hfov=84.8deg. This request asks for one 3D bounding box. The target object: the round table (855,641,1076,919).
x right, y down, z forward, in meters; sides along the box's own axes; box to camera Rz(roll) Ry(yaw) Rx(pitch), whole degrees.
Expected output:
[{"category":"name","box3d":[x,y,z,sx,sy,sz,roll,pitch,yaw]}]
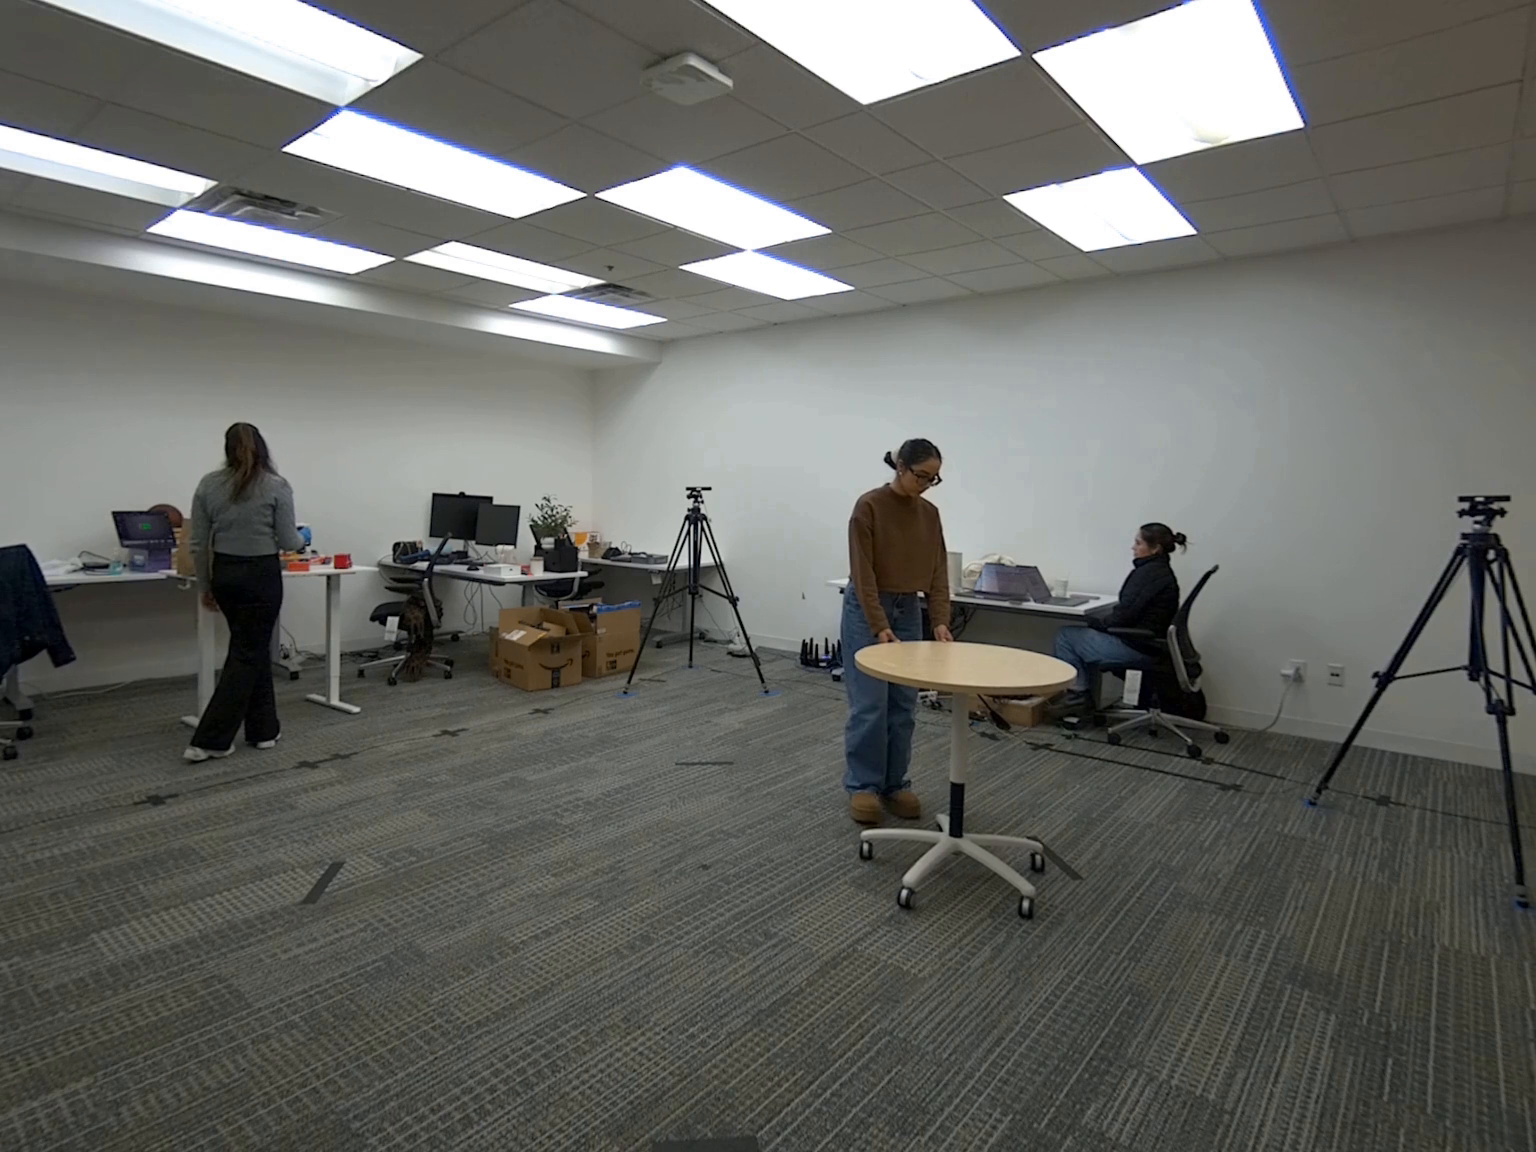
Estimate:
[{"category":"round table","box3d":[0.675,0.695,3.092,0.763,0.791,0.768,1,5,-2]}]
